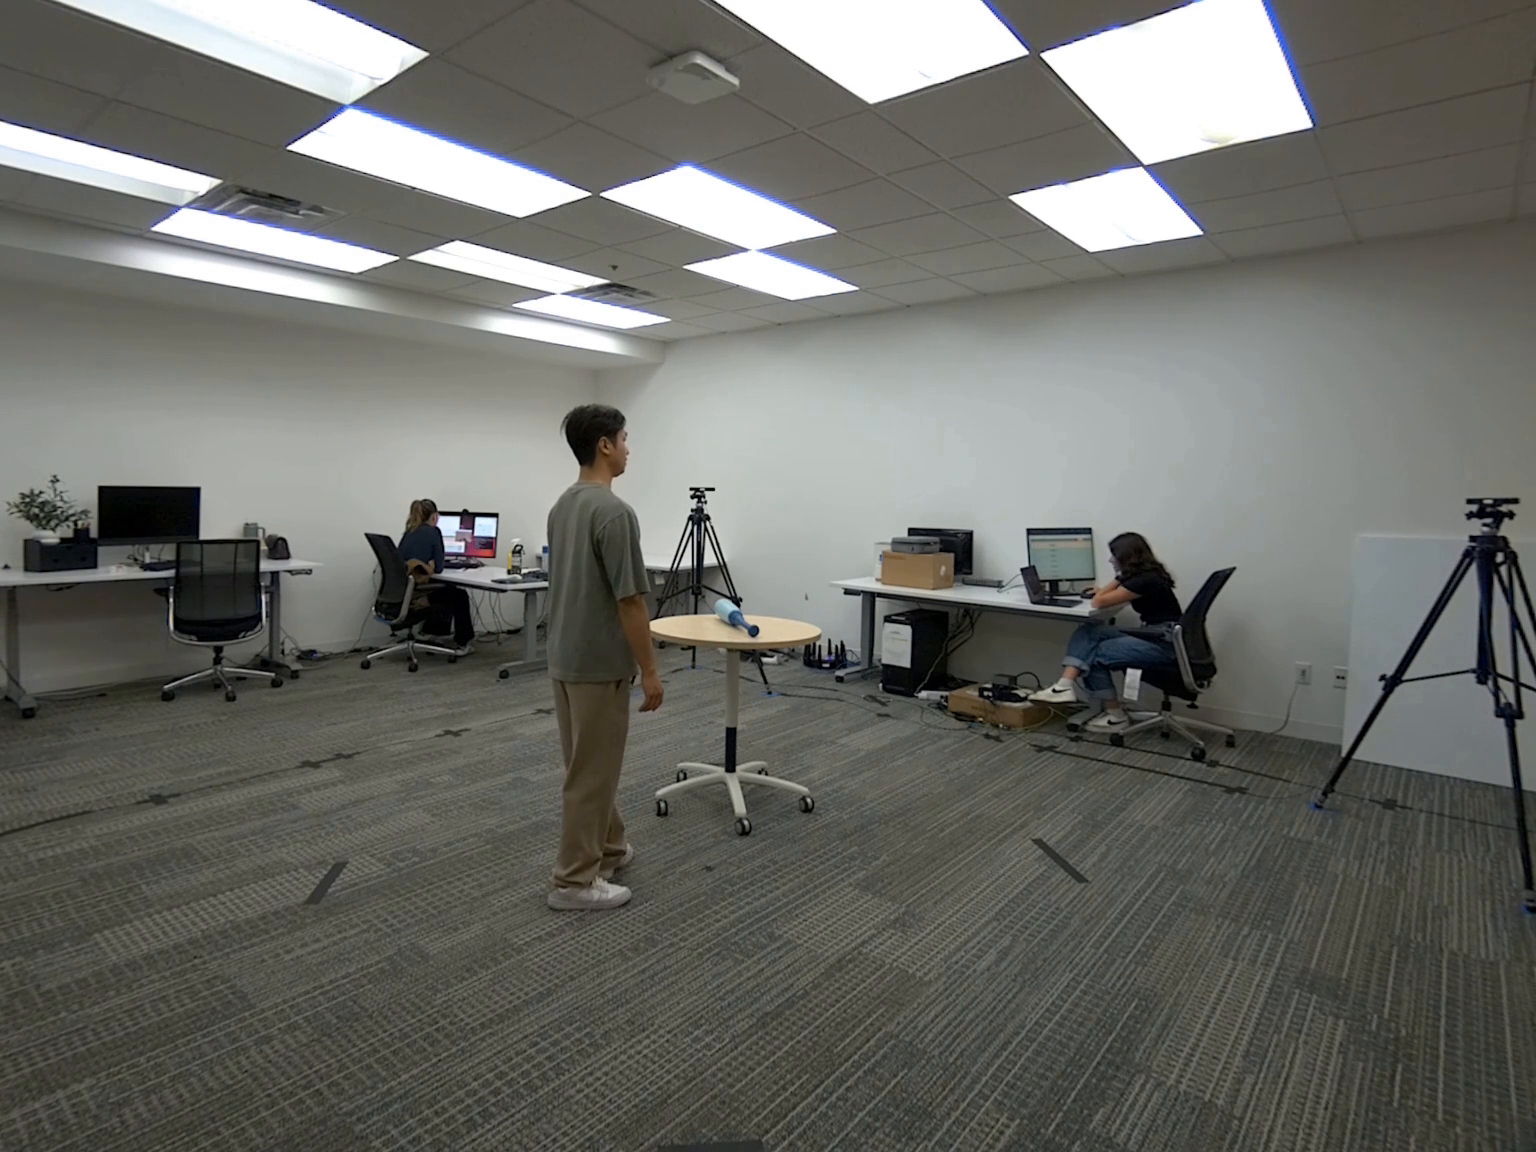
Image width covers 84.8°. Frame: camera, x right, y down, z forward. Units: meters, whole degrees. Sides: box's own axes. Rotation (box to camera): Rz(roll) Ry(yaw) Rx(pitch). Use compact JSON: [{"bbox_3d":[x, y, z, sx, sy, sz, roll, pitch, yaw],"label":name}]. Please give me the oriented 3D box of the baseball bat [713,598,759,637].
[{"bbox_3d":[-0.143,0.185,3.743,0.087,0.088,0.557,-1,9,-19],"label":"baseball bat"}]
